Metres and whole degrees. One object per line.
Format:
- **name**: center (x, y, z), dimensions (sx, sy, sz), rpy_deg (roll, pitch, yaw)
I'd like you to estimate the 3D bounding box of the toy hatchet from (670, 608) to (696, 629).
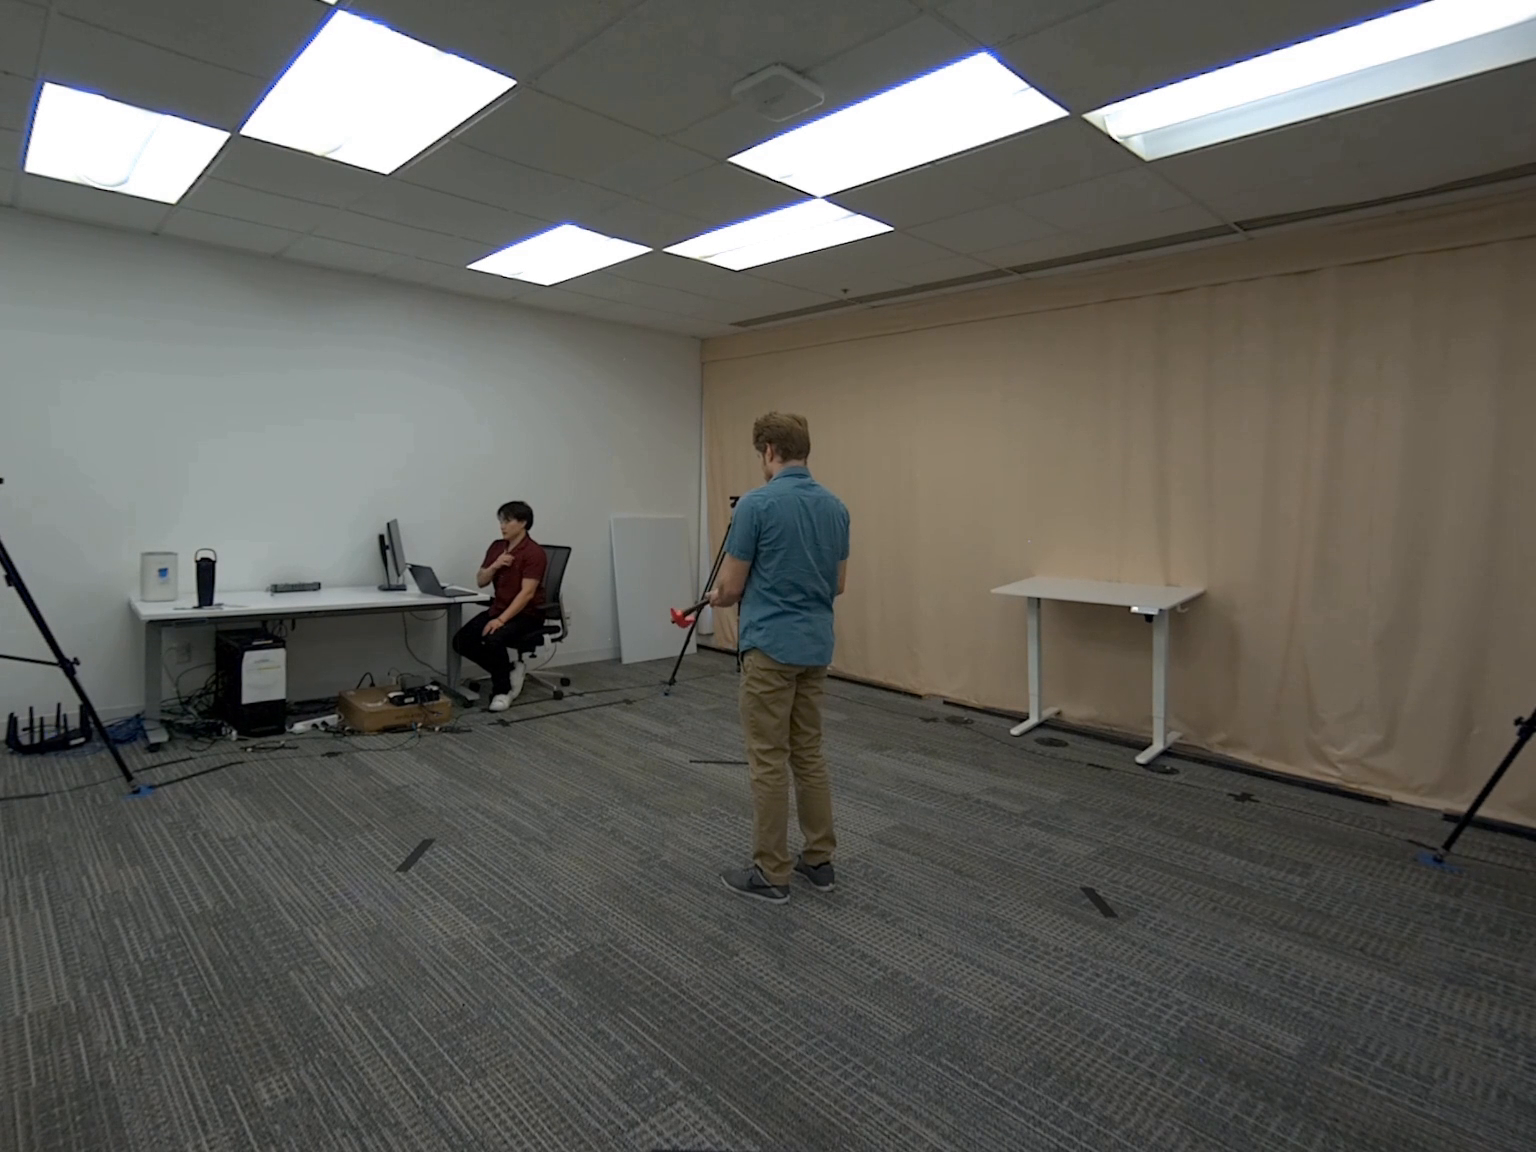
- **toy hatchet**: center (-0.249, 0.132, 3.308), dimensions (0.269, 0.128, 0.030), rpy_deg (-3, 39, -6)
